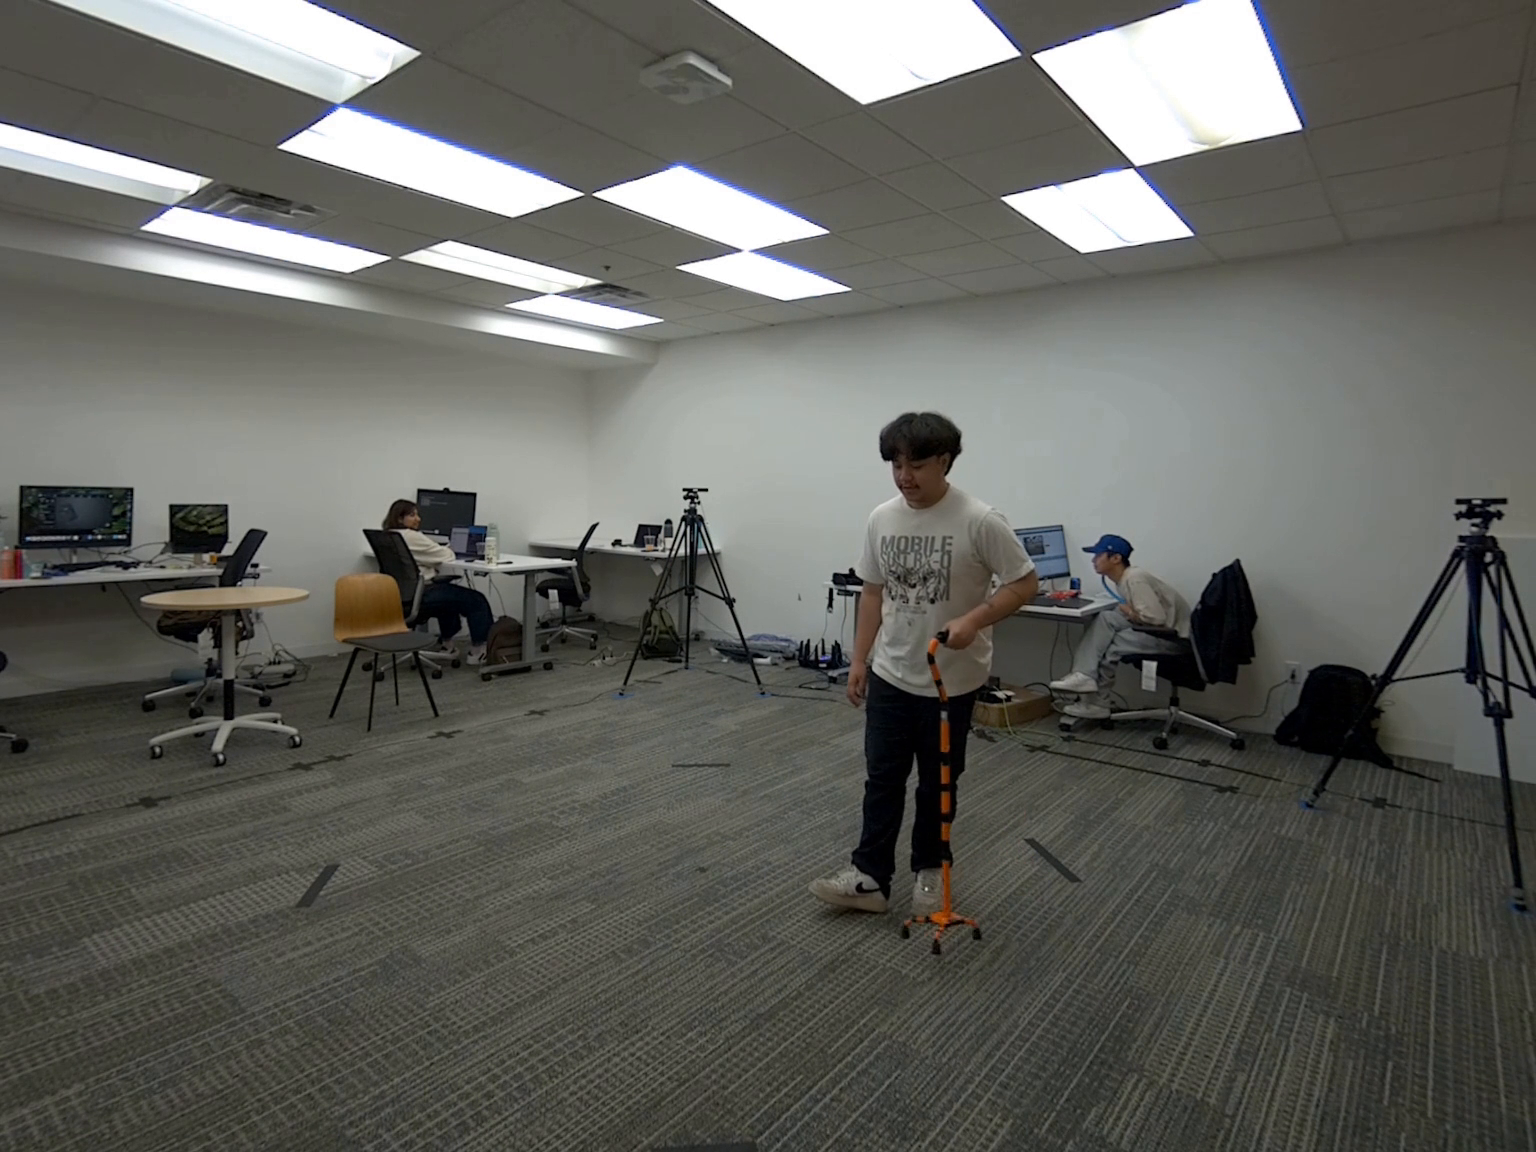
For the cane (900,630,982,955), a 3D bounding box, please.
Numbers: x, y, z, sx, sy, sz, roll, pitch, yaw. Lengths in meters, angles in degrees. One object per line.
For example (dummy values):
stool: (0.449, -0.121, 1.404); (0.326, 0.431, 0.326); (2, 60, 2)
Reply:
cane: (0.514, 0.631, 2.564); (0.200, 0.909, 0.156); (1, -2, -36)
